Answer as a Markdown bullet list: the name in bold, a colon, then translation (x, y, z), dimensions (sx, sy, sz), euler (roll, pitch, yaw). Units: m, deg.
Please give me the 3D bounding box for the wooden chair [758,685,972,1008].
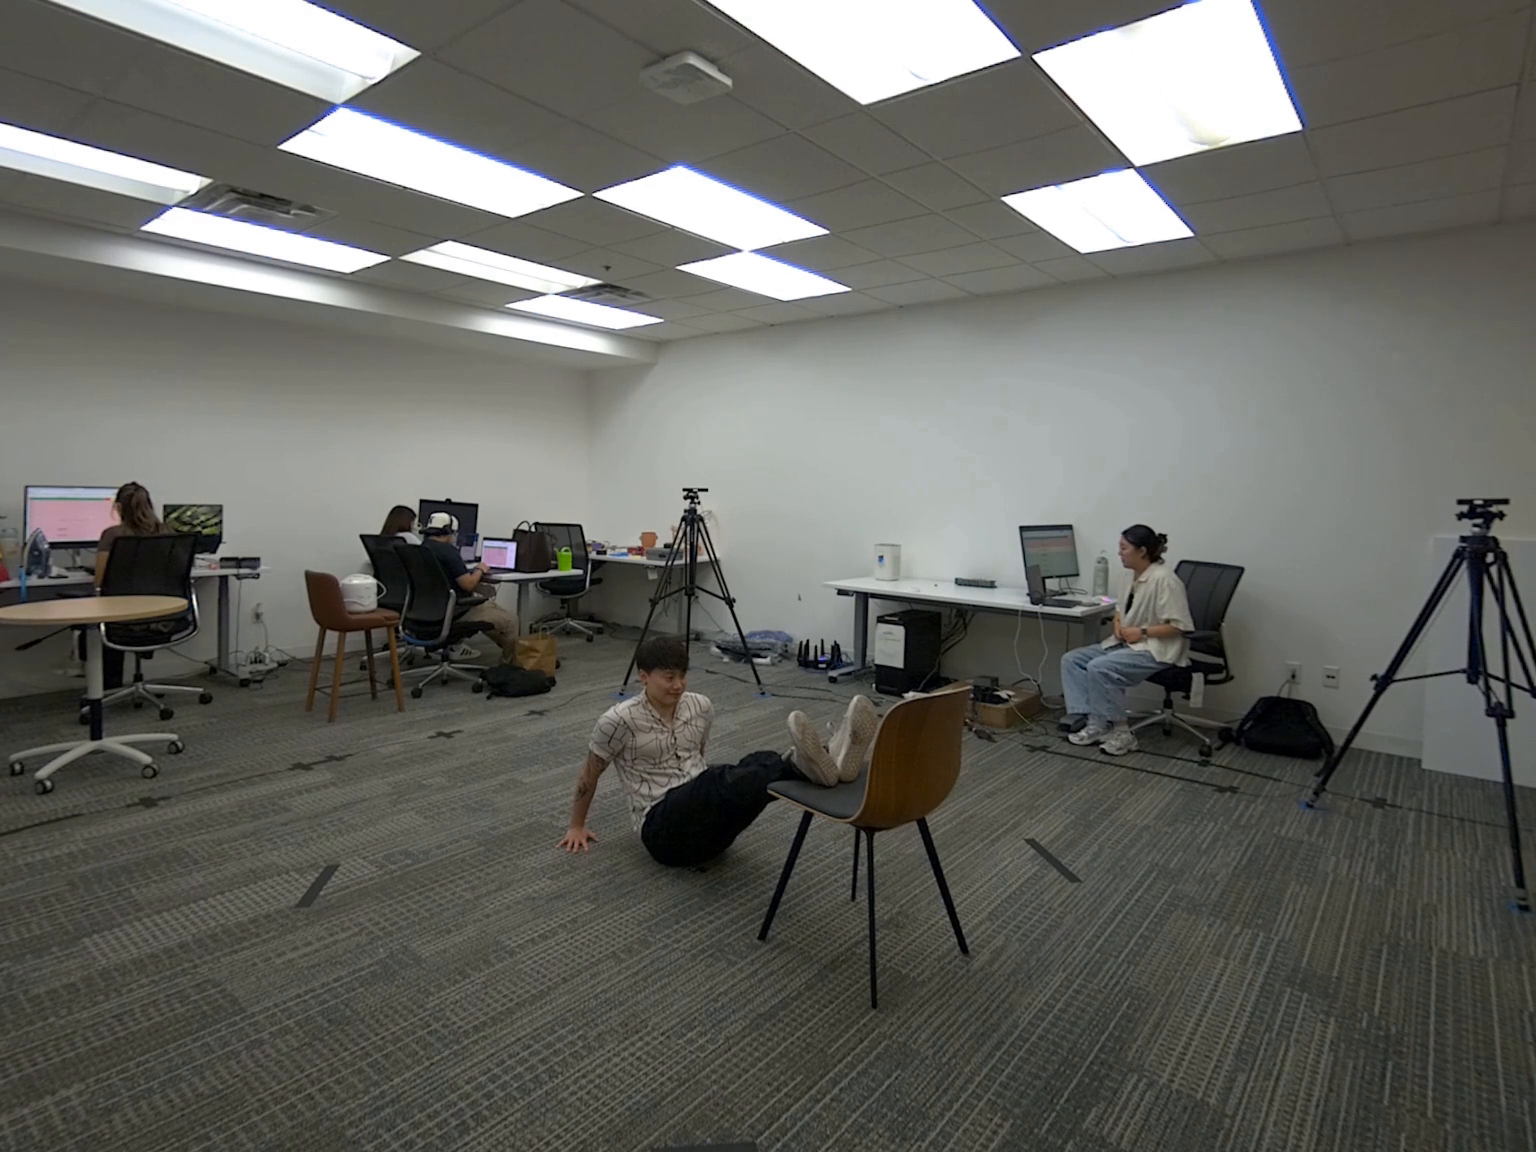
- **wooden chair**: translation (0.288, 0.705, 2.583), dimensions (0.463, 0.872, 0.542), euler (-2, 9, -43)
